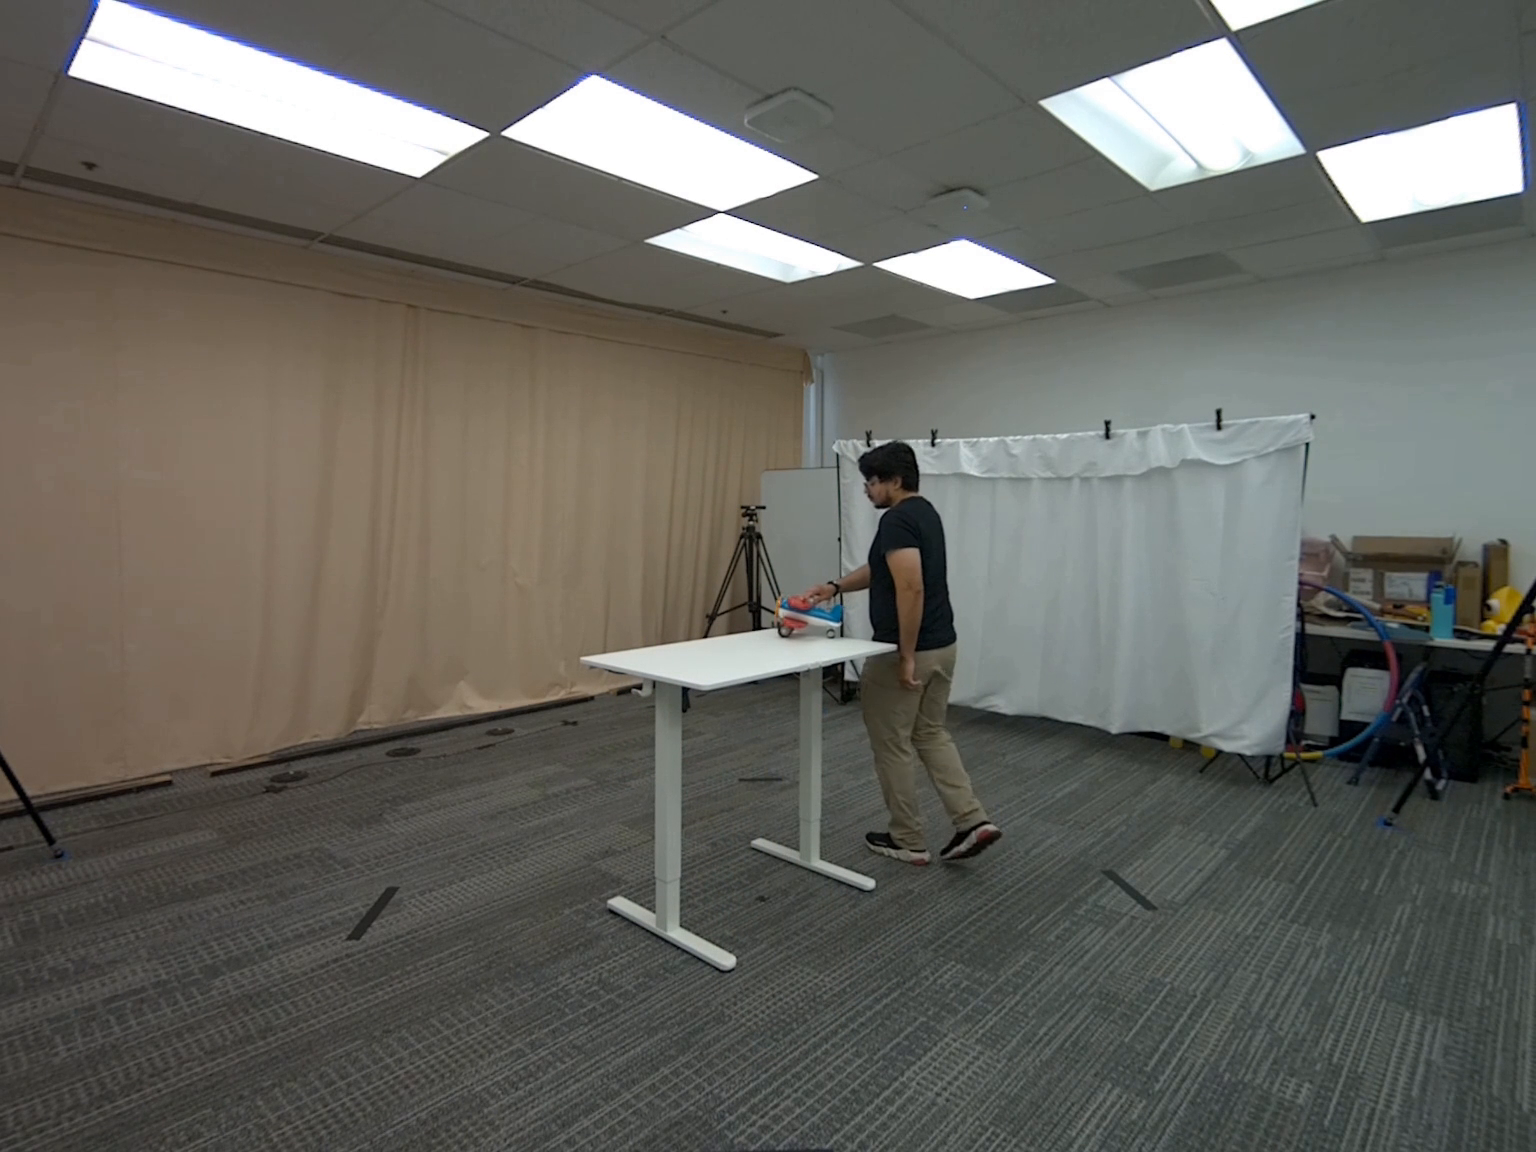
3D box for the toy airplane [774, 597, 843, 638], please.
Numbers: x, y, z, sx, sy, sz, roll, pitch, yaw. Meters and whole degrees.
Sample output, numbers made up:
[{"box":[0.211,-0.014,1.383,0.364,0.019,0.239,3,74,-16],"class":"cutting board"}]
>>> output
[{"box":[0.162,0.162,3.305,0.254,0.156,0.256,-2,5,-18],"class":"toy airplane"}]
